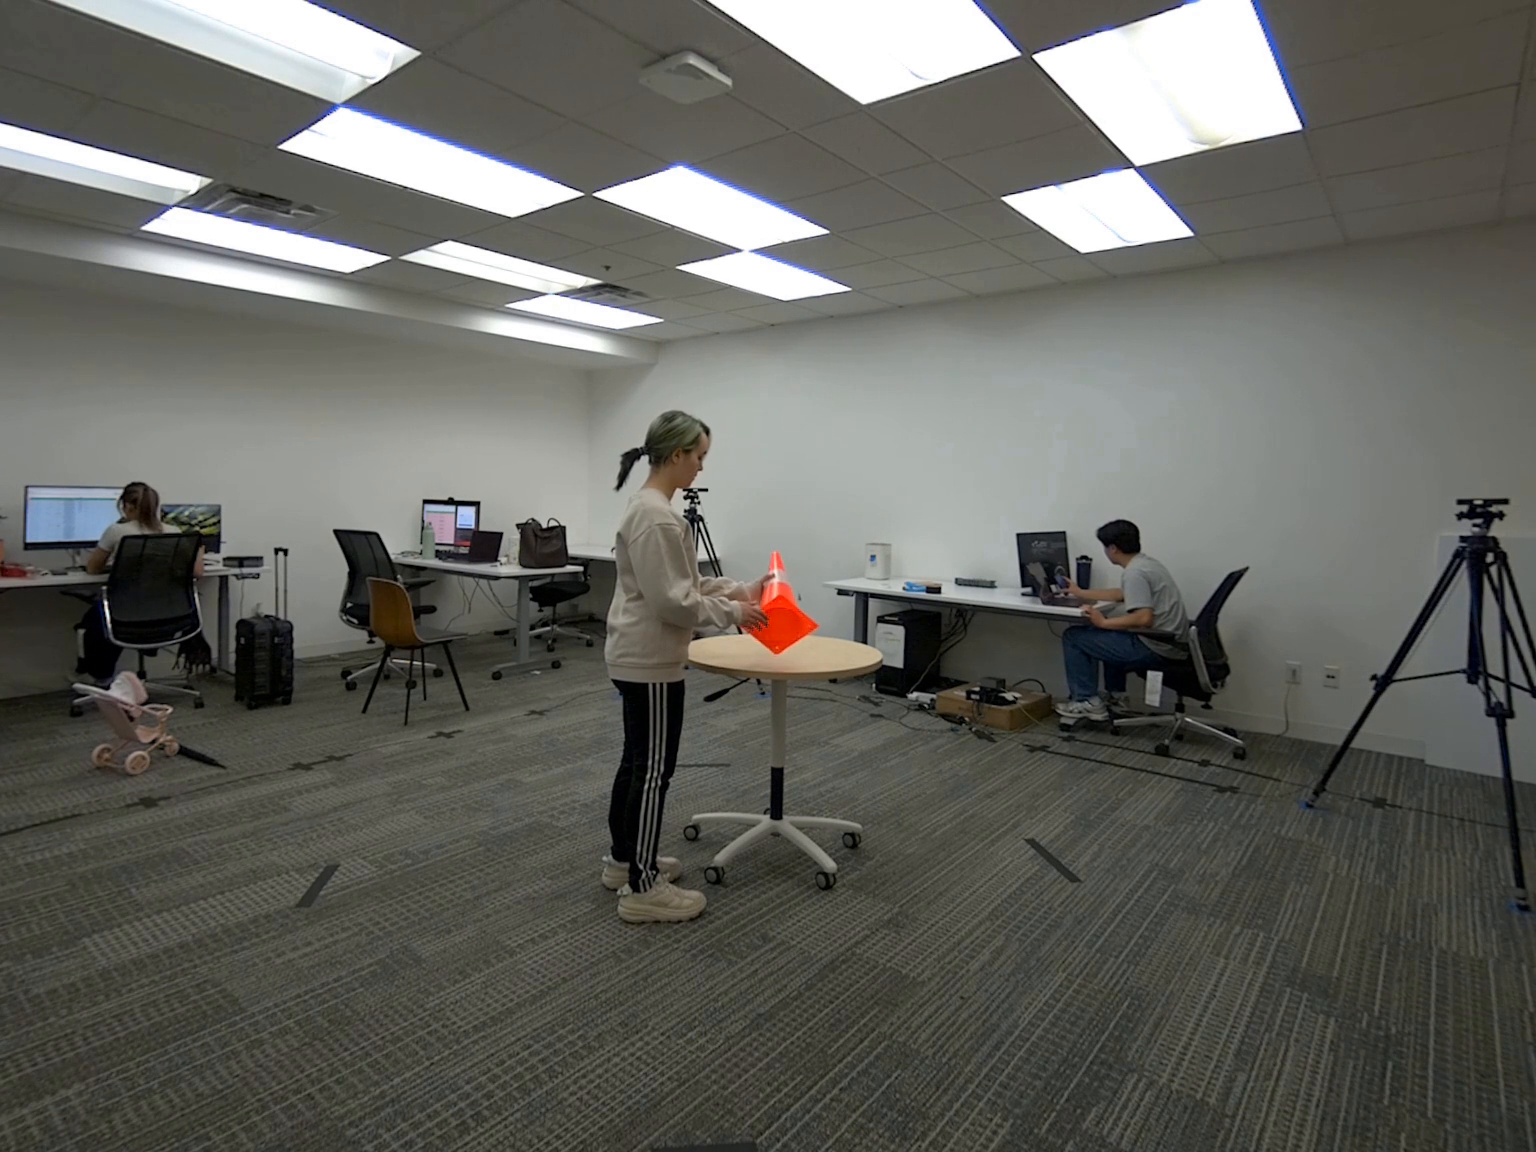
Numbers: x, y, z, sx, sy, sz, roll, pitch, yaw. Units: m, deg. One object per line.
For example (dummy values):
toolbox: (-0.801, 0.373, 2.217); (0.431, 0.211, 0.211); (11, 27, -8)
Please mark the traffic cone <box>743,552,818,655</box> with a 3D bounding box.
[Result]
traffic cone: (0.023, 0.048, 3.006); (0.197, 0.205, 0.395); (30, 34, -24)
